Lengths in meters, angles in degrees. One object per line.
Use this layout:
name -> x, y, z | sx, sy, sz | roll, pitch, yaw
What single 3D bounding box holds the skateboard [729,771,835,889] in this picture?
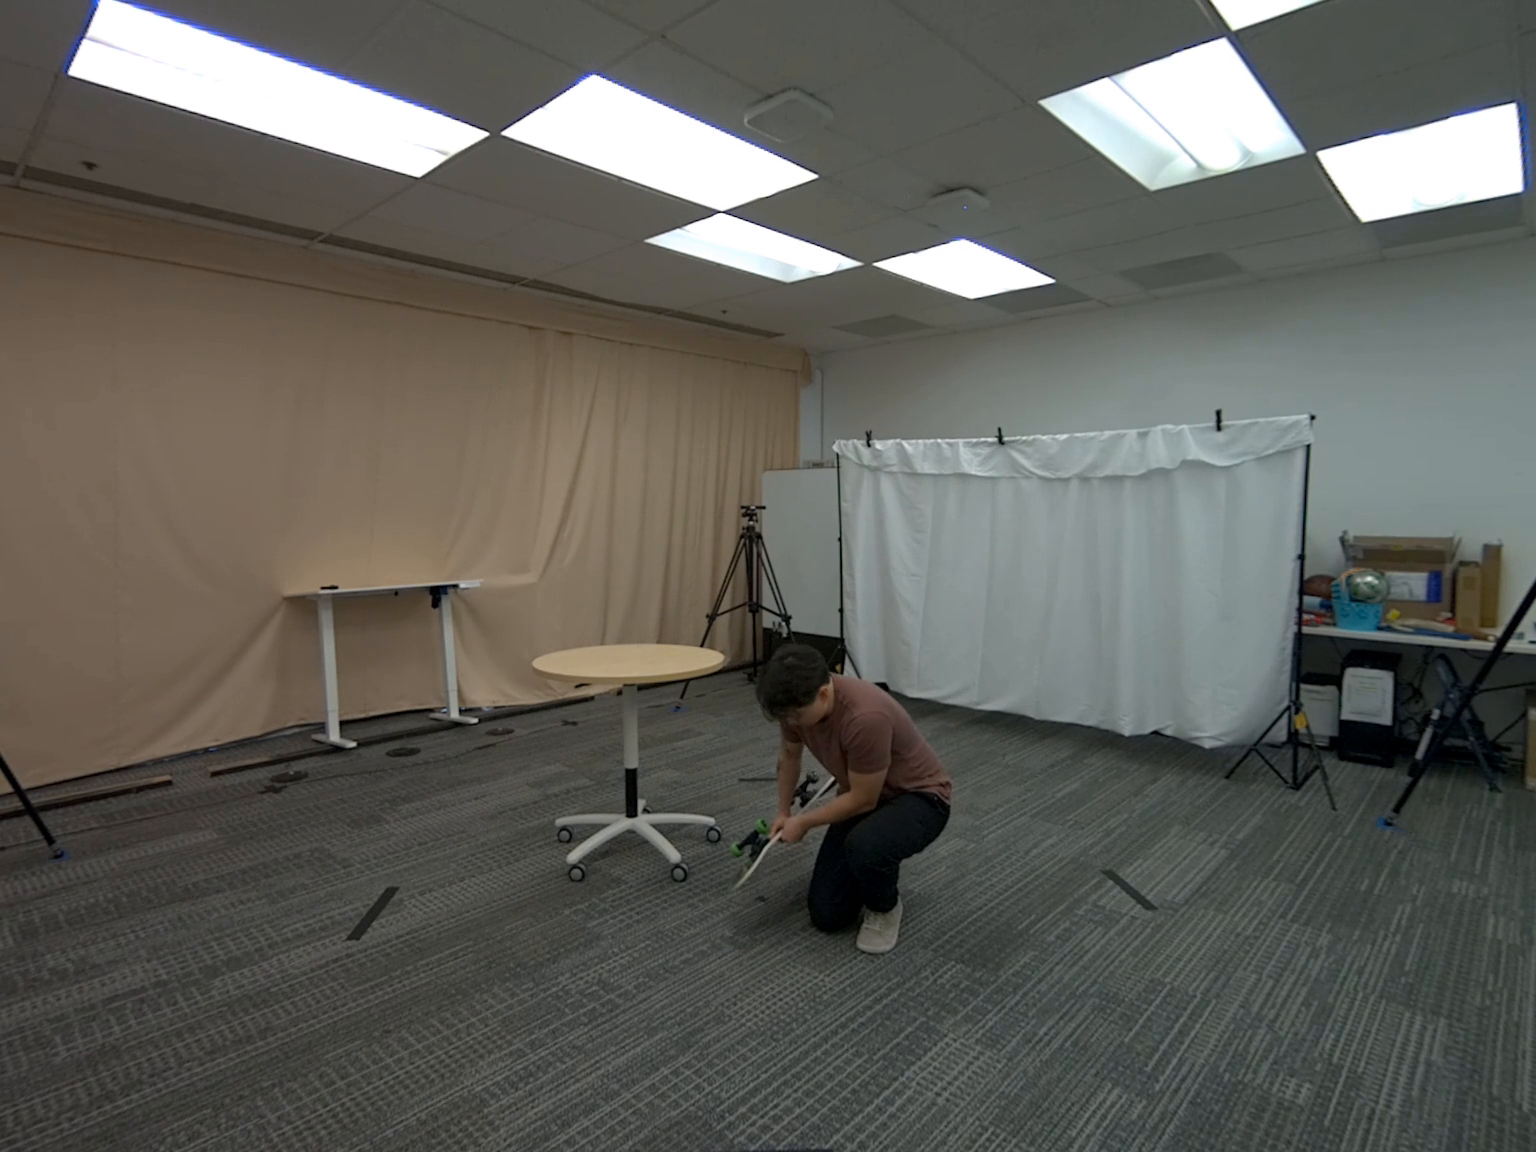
skateboard -> 0.064, 0.864, 2.999 | 0.194, 0.112, 0.769 | -50, -13, 29
